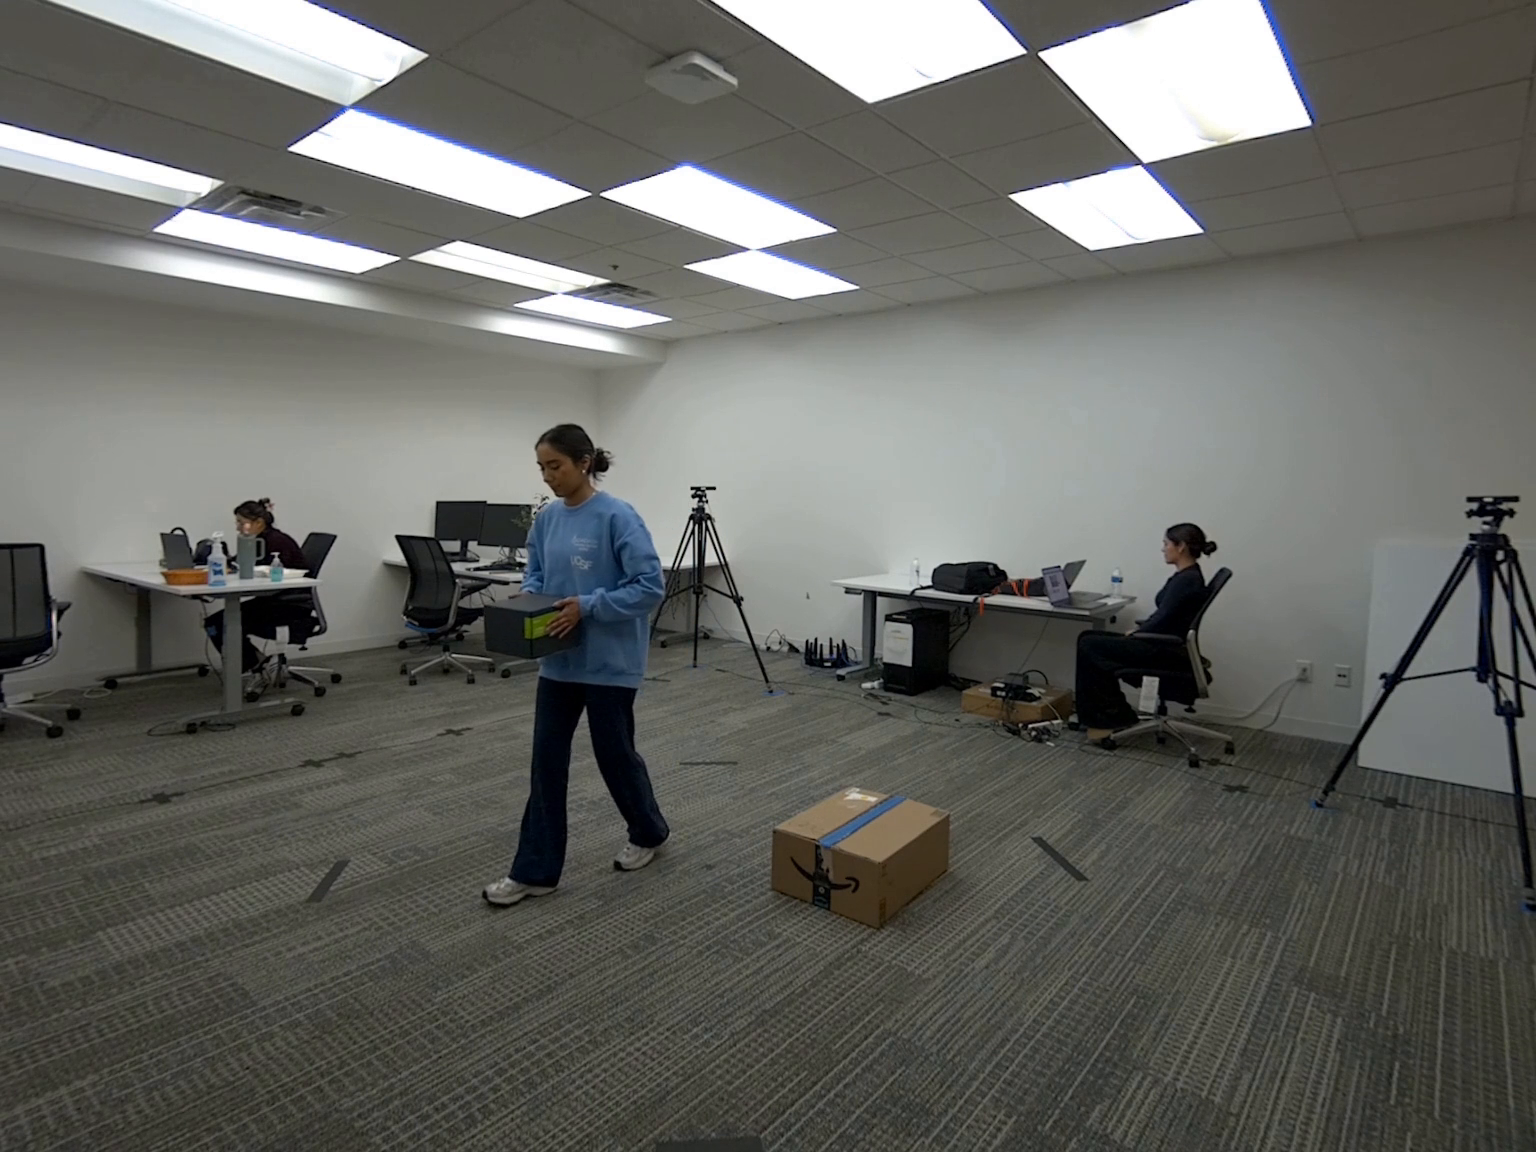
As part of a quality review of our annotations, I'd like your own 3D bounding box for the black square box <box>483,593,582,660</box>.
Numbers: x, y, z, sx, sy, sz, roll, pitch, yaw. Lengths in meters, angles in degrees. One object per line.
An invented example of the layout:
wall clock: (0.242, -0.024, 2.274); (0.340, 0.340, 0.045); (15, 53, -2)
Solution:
black square box: (-0.785, 0.155, 2.785); (0.223, 0.155, 0.223); (5, 10, 30)
